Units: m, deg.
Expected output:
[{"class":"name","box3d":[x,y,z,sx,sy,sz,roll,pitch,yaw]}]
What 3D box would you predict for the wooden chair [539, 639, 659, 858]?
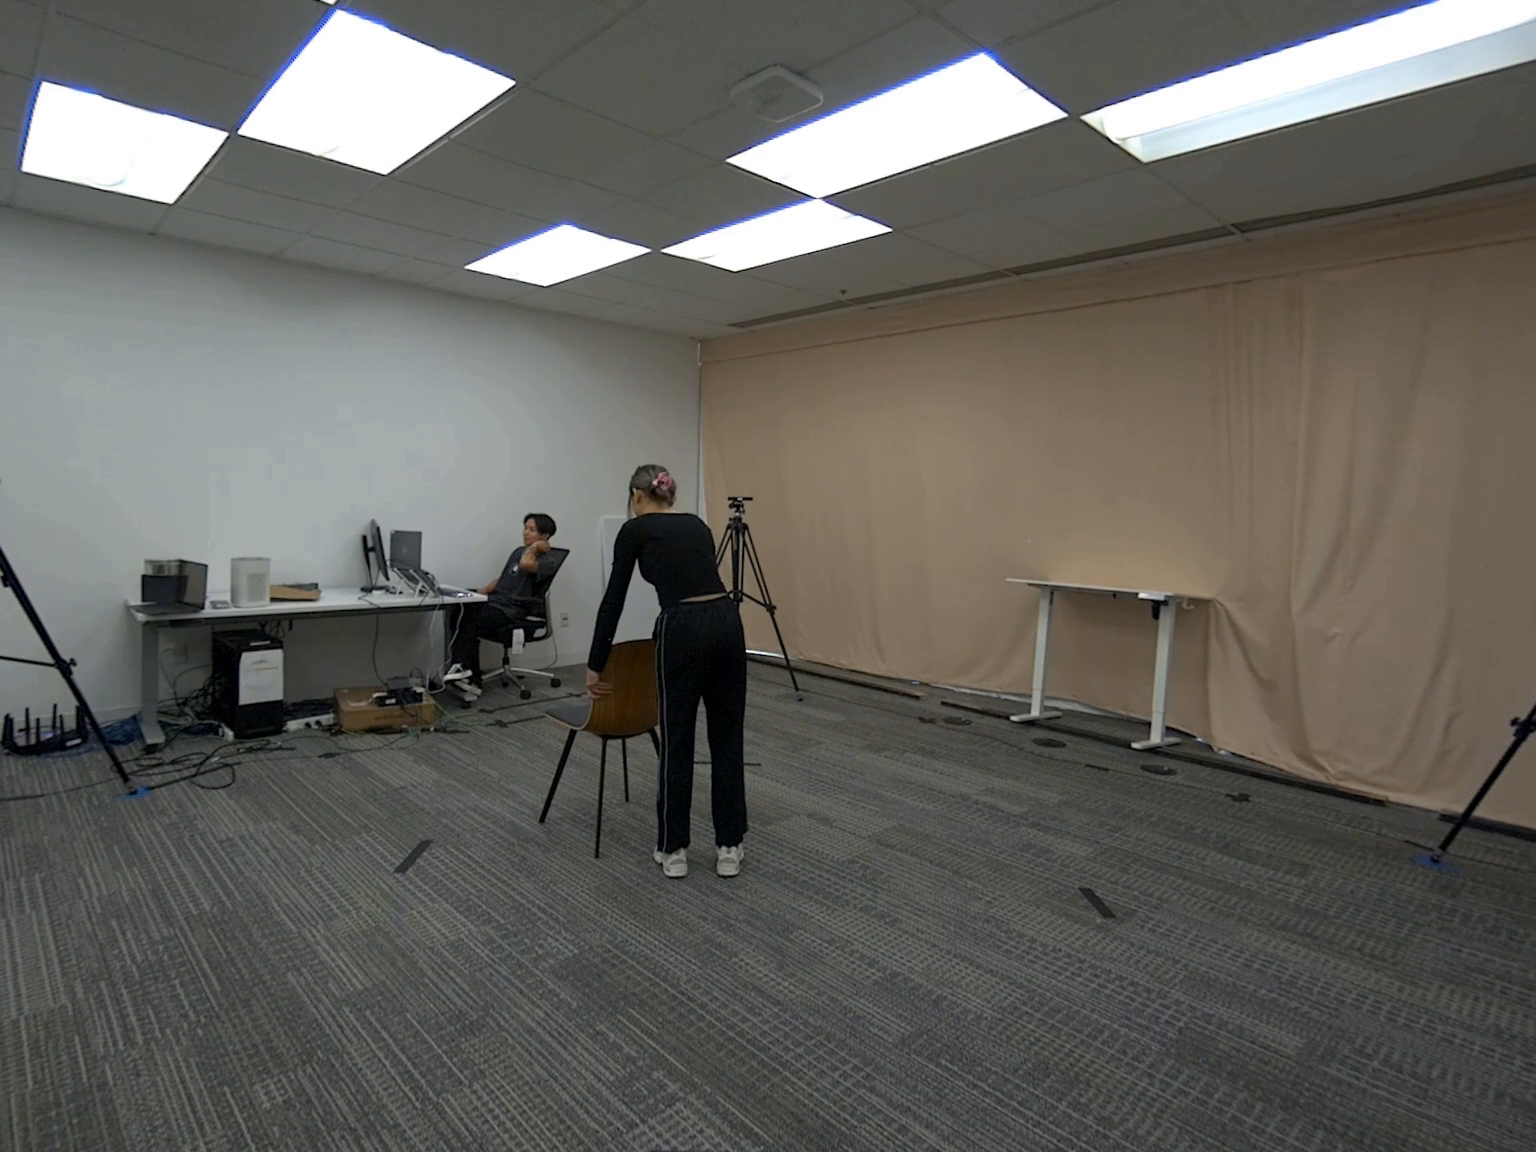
[{"class":"wooden chair","box3d":[-0.654,0.633,3.517,0.467,0.873,0.537,-2,9,-42]}]
